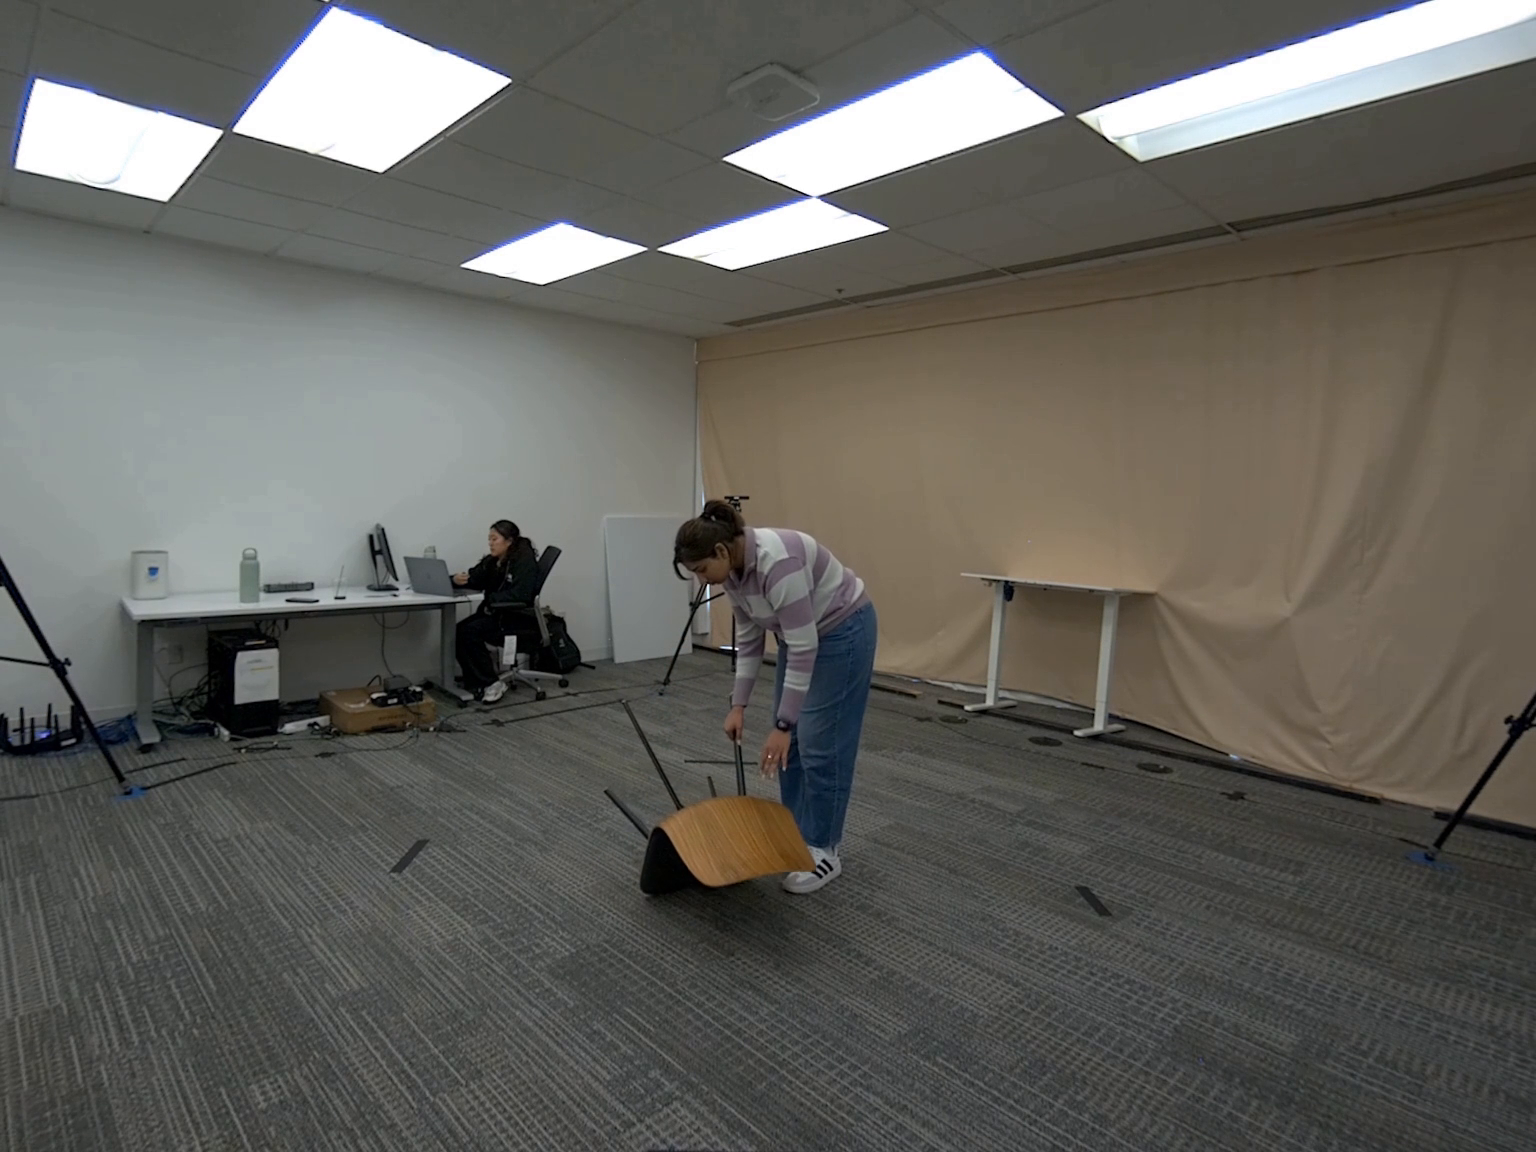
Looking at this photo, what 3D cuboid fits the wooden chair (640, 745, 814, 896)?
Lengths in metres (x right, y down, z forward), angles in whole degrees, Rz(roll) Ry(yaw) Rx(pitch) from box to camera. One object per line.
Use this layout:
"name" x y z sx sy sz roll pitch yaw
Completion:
"wooden chair" -0.221 0.888 2.919 0.469 0.517 0.905 0 28 -27
